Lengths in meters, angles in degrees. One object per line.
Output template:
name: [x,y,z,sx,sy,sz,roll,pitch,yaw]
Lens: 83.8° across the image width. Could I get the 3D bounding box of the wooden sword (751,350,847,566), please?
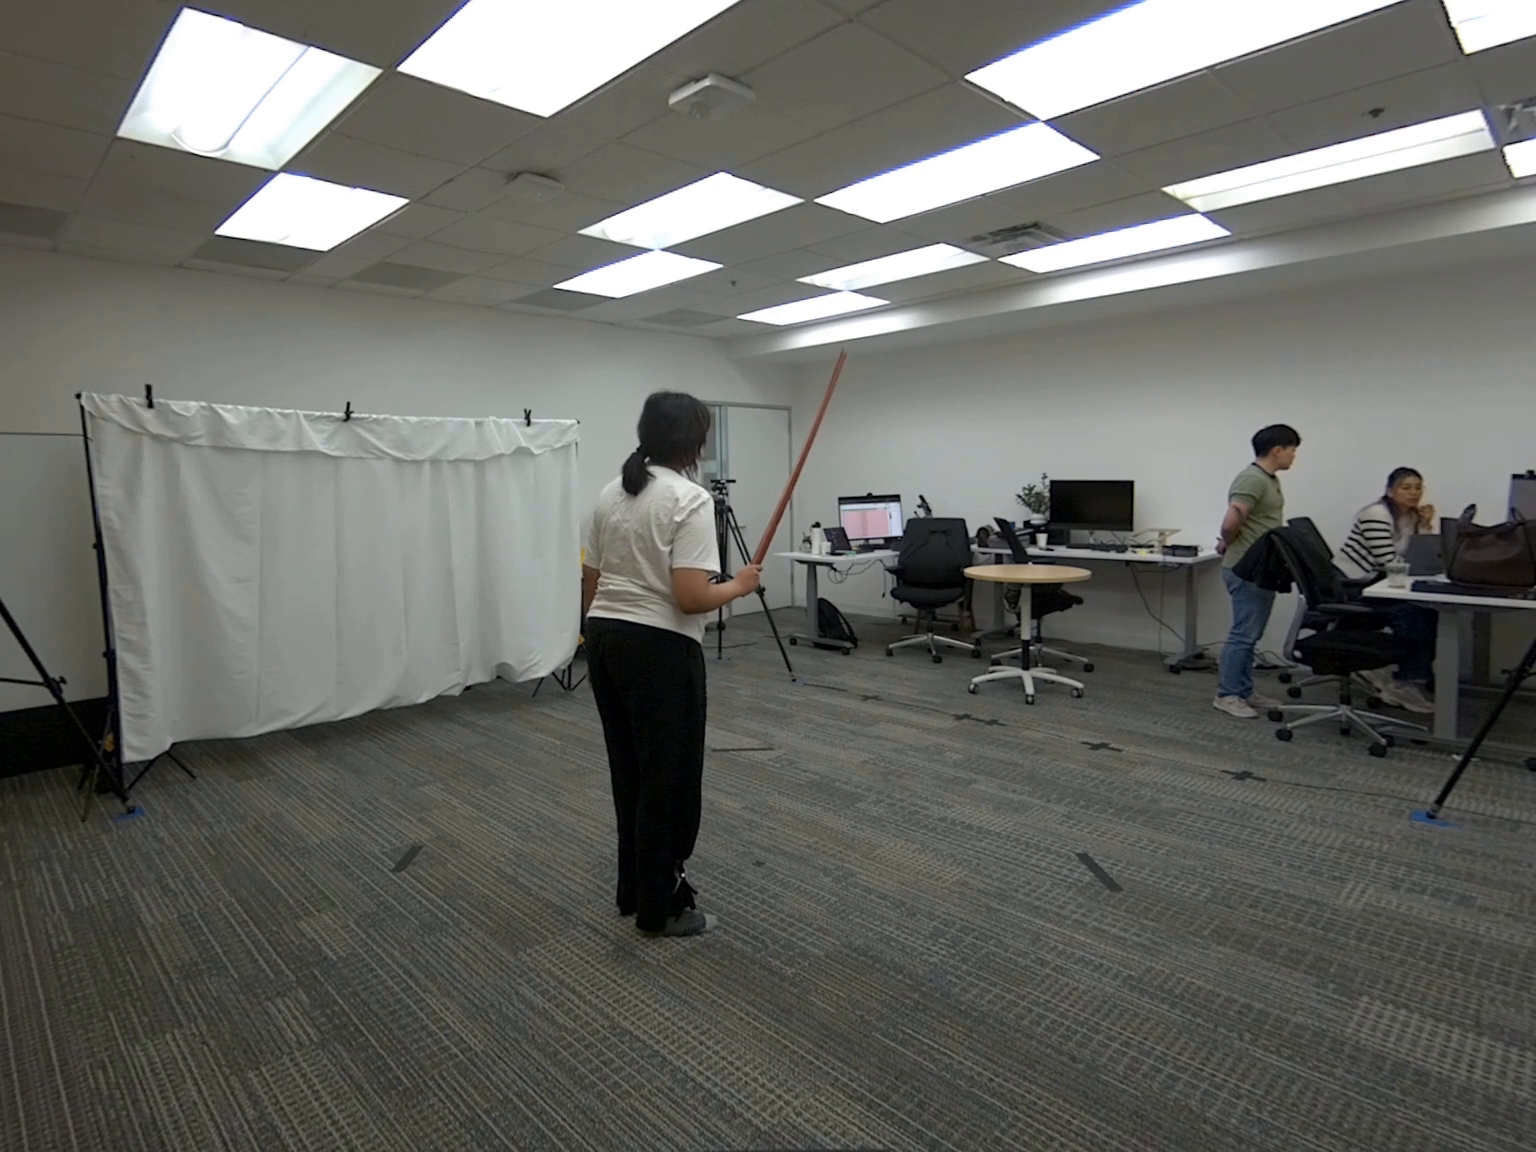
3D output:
wooden sword: [0.107,-0.381,2.898,0.024,1.034,0.050,20,-23,7]
